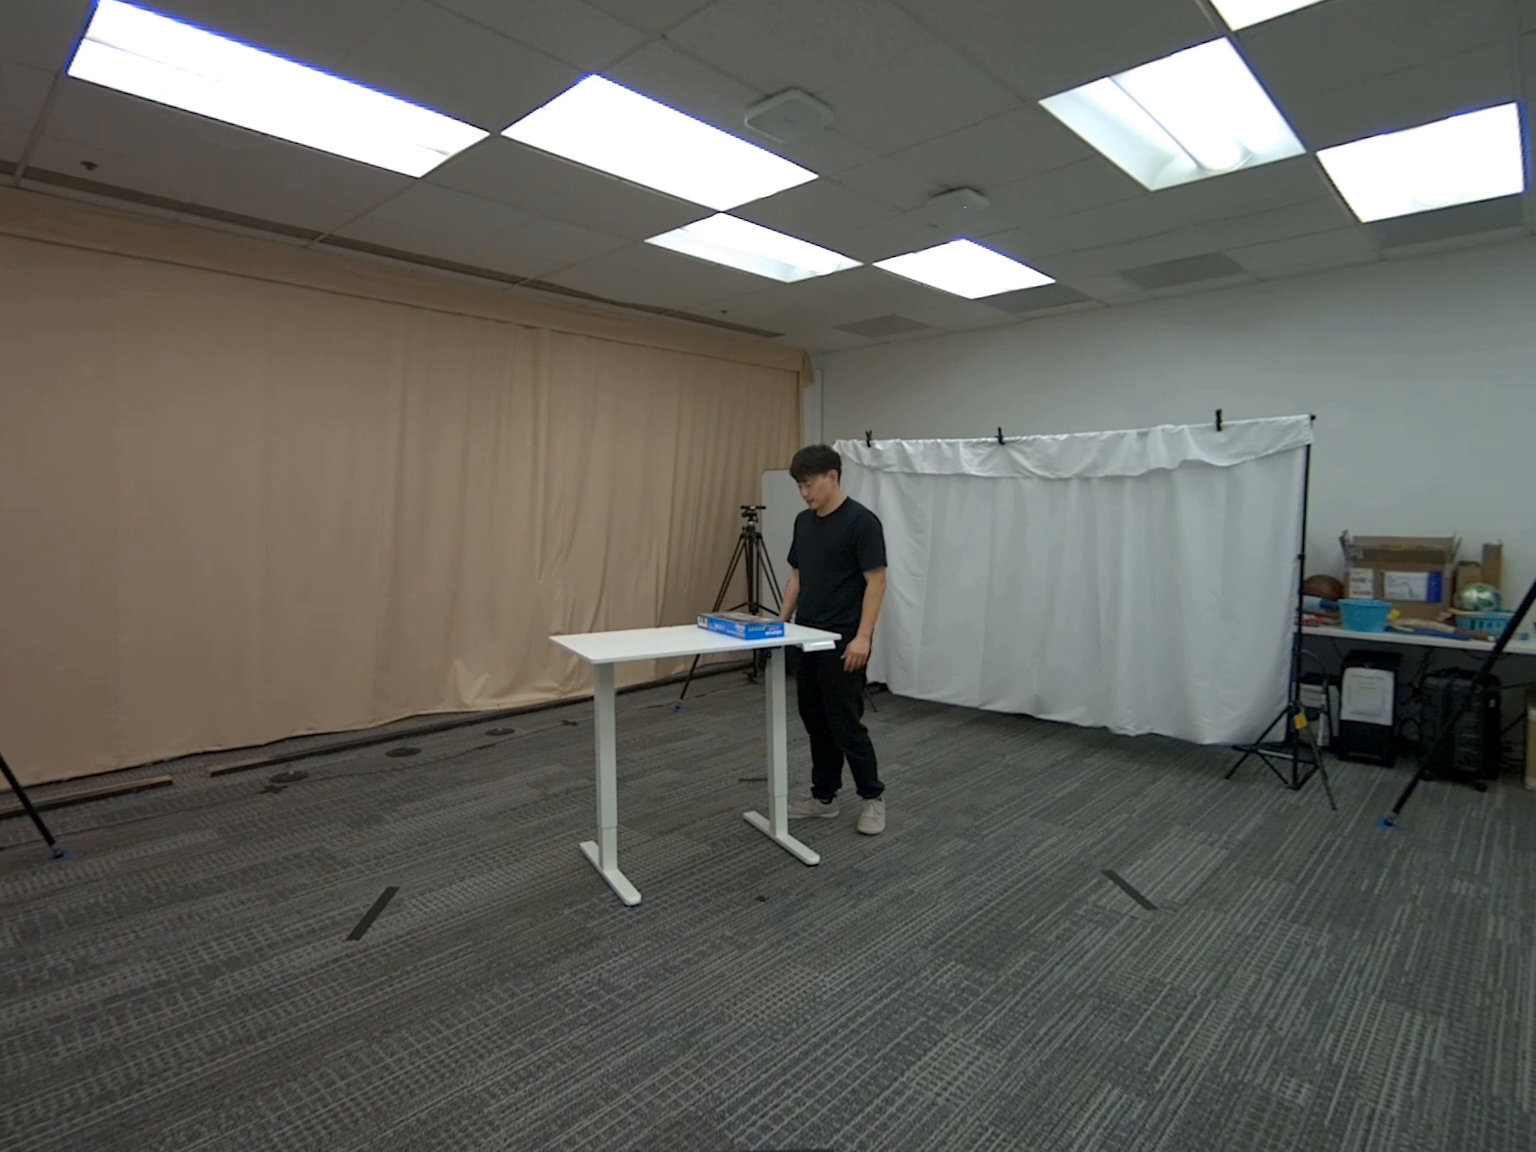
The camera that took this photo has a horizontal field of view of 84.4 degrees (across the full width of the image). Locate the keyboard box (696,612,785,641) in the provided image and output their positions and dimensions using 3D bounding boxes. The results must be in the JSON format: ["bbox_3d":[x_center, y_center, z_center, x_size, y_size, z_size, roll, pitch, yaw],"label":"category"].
[{"bbox_3d":[-0.114,0.198,3.407,0.171,0.059,0.449,-4,5,-28],"label":"keyboard box"}]
